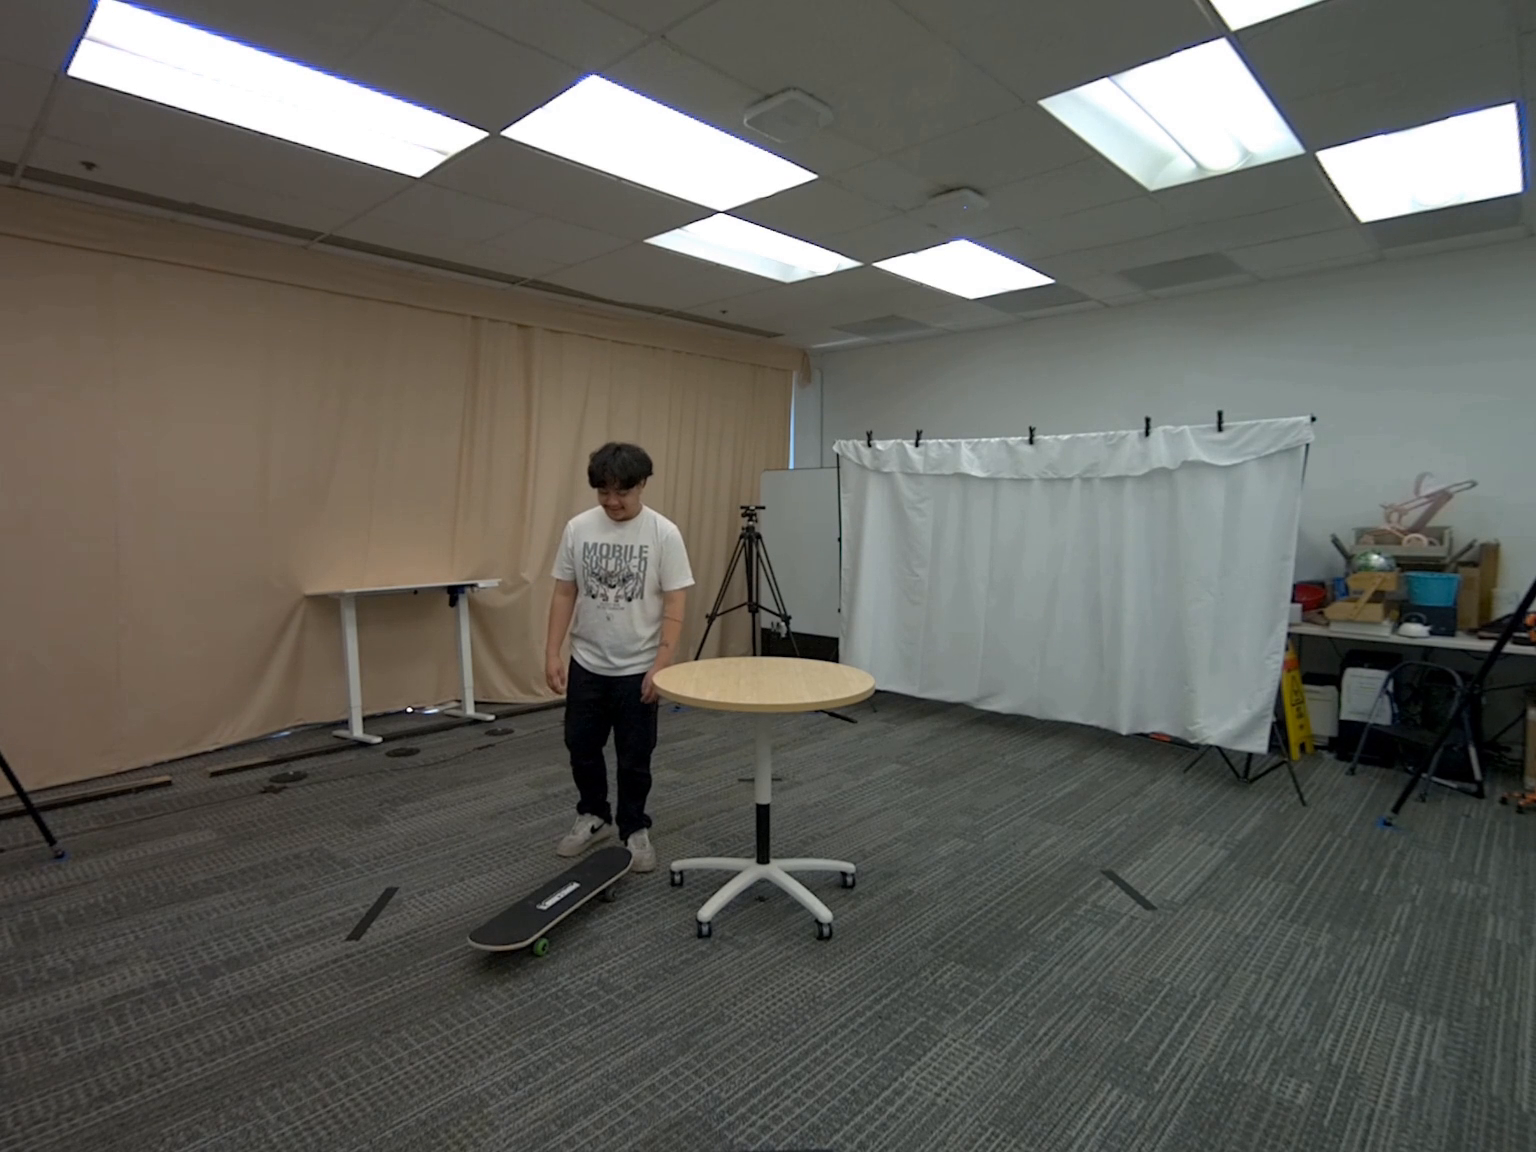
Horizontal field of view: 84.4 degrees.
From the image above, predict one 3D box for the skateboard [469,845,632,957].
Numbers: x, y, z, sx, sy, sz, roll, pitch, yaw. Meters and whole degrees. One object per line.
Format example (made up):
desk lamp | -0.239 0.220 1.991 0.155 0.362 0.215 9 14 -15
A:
skateboard | -0.701 1.103 2.829 0.198 0.110 0.768 1 5 23
